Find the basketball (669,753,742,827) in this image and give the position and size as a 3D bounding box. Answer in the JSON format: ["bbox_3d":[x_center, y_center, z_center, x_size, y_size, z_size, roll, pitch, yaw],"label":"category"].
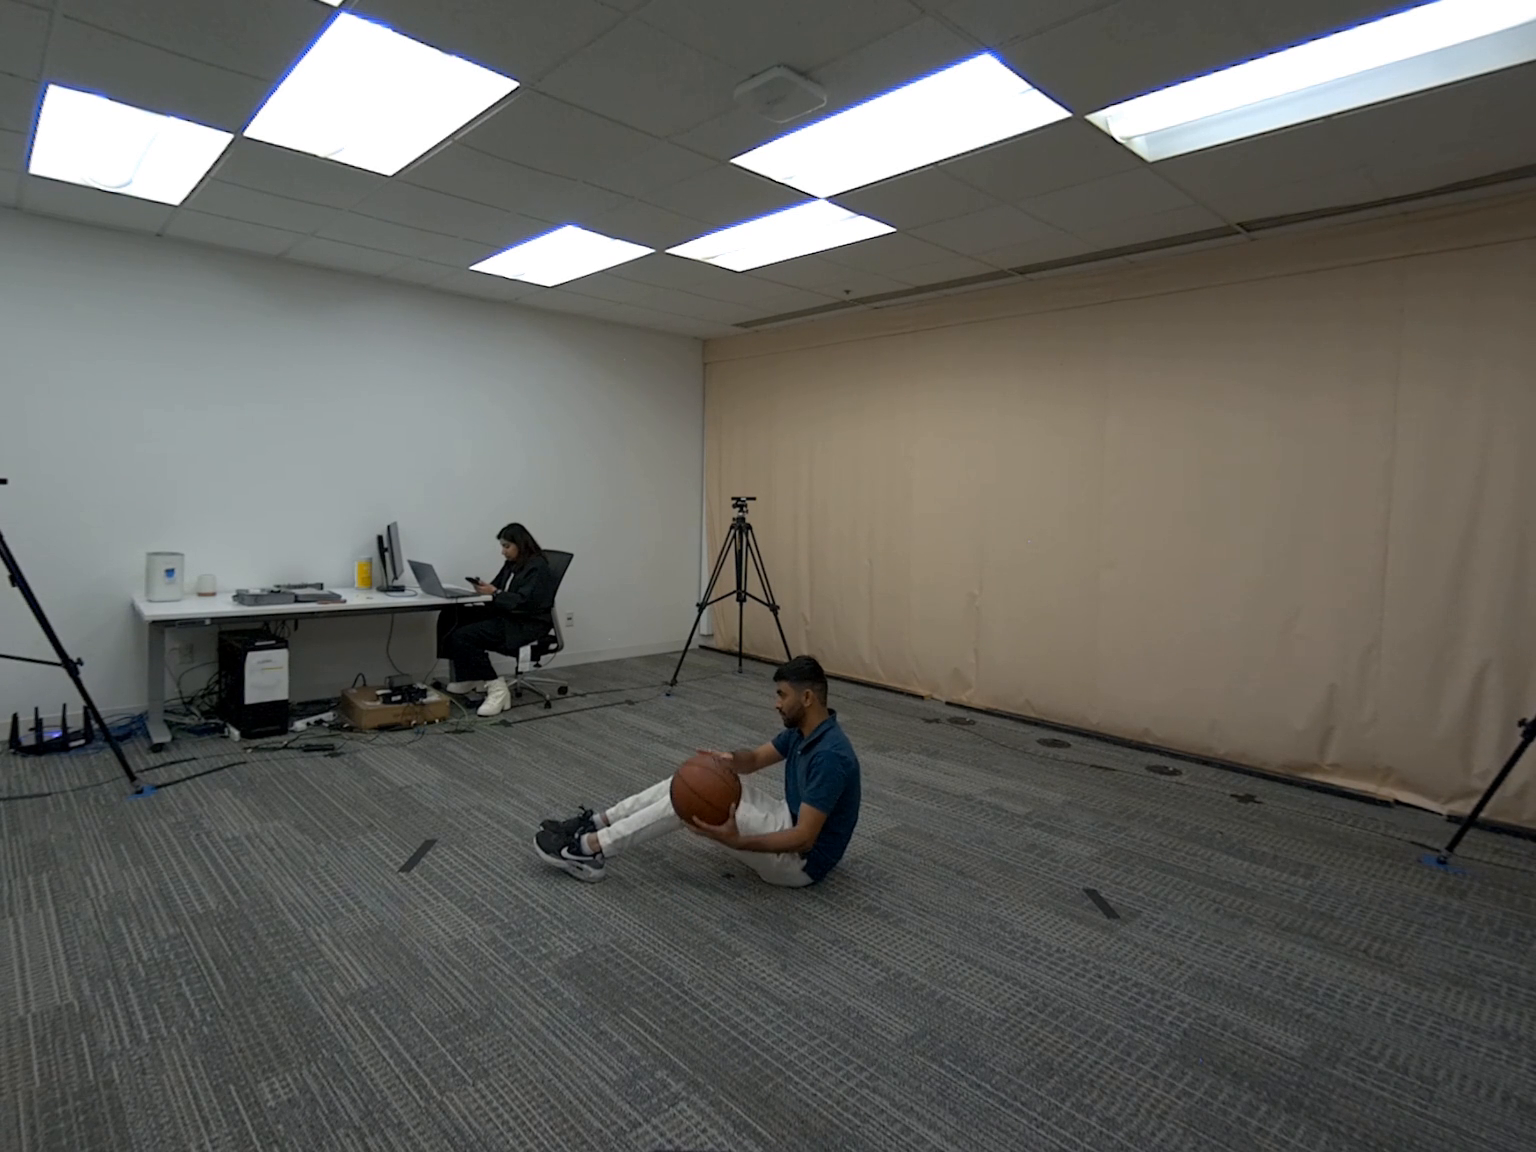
[{"bbox_3d":[-0.208,0.721,2.798,0.236,0.235,0.237,1,4,-1],"label":"basketball"}]
